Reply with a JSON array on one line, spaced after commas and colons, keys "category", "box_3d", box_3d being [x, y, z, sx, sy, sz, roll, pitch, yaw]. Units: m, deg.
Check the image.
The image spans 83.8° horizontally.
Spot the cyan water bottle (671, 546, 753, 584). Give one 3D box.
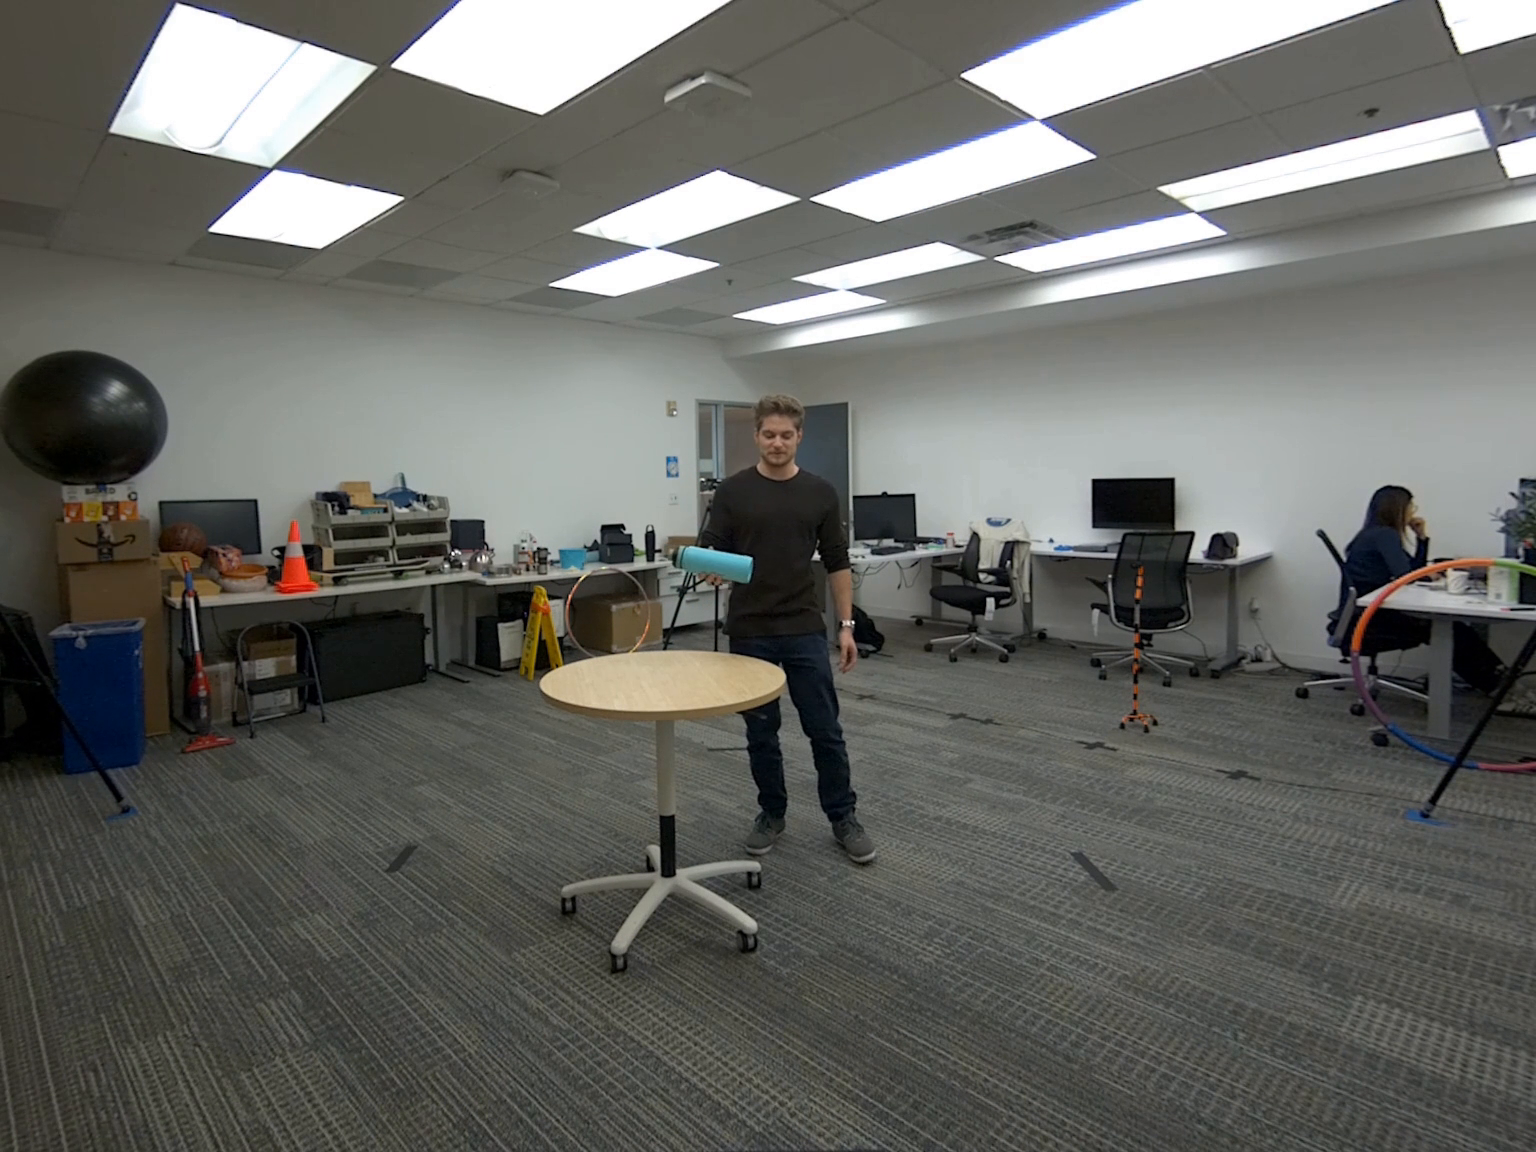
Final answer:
[{"category": "cyan water bottle", "box_3d": [-0.191, -0.047, 2.903, 0.285, 0.092, 0.092, 7, 5, 4]}]
